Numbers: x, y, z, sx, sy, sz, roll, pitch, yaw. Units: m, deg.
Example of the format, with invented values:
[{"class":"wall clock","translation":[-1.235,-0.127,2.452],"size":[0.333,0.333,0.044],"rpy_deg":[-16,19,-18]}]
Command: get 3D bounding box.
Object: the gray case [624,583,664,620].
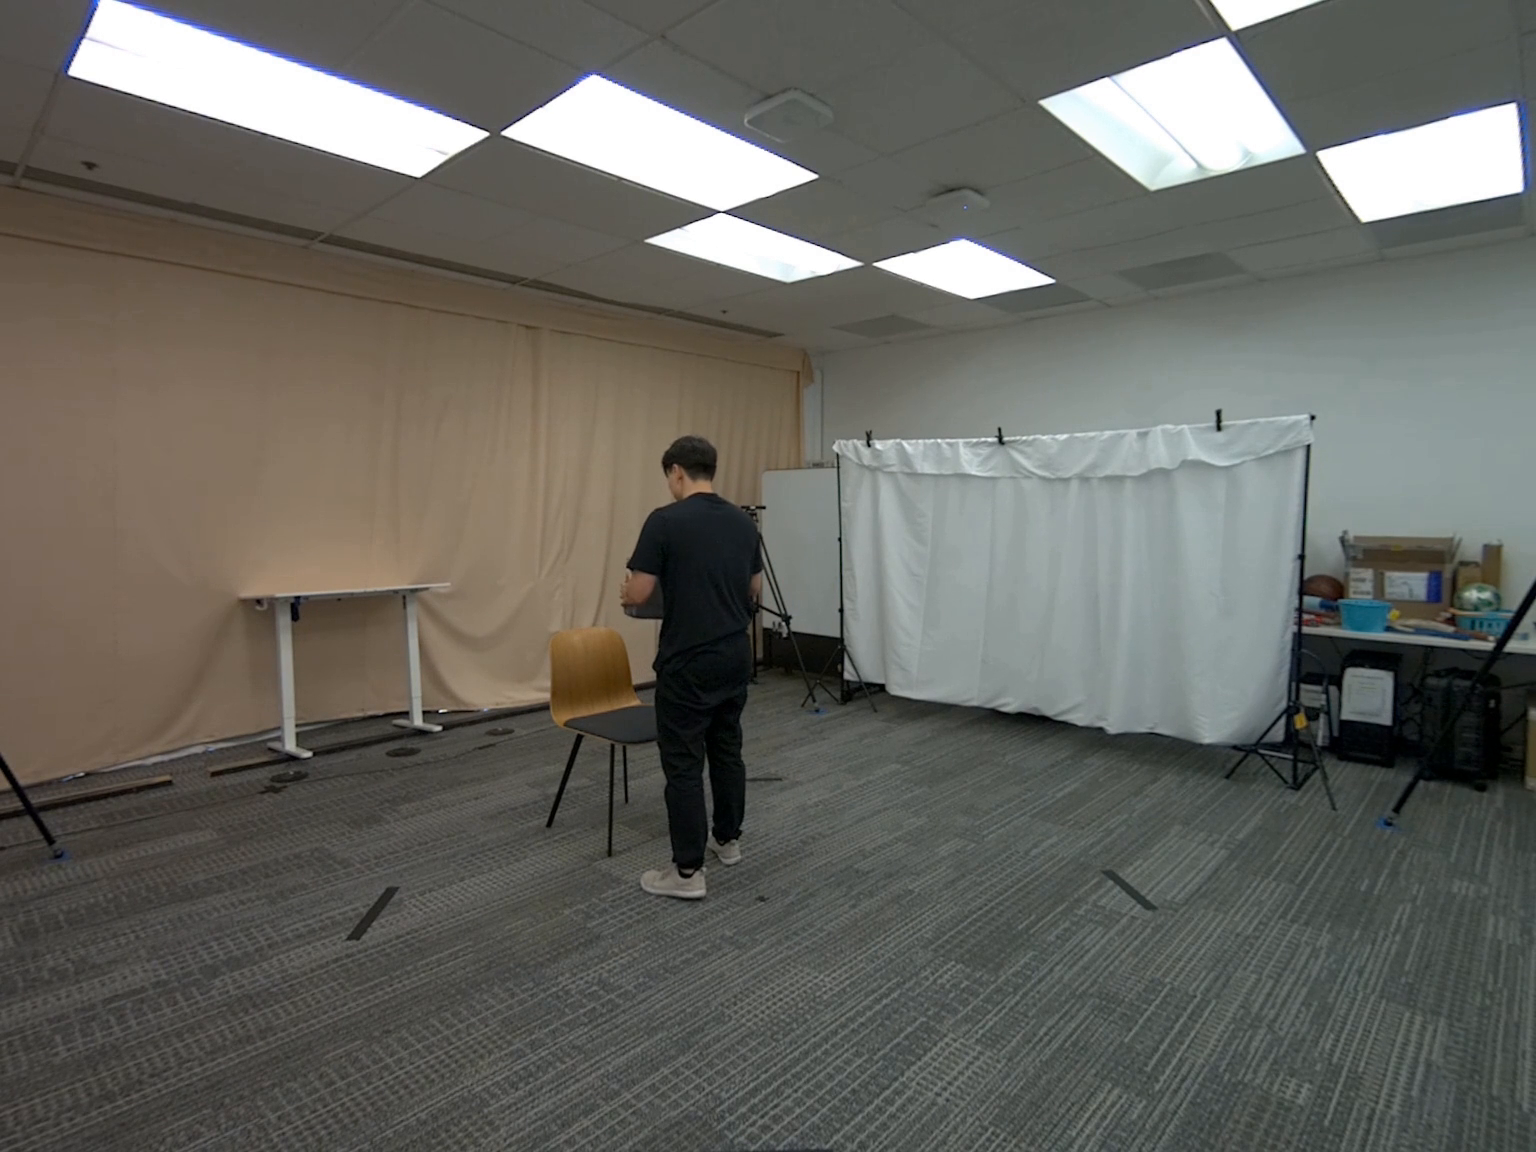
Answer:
[{"class":"gray case","translation":[-0.451,0.044,3.412],"size":[0.249,0.261,0.107],"rpy_deg":[5,-3,-35]}]
